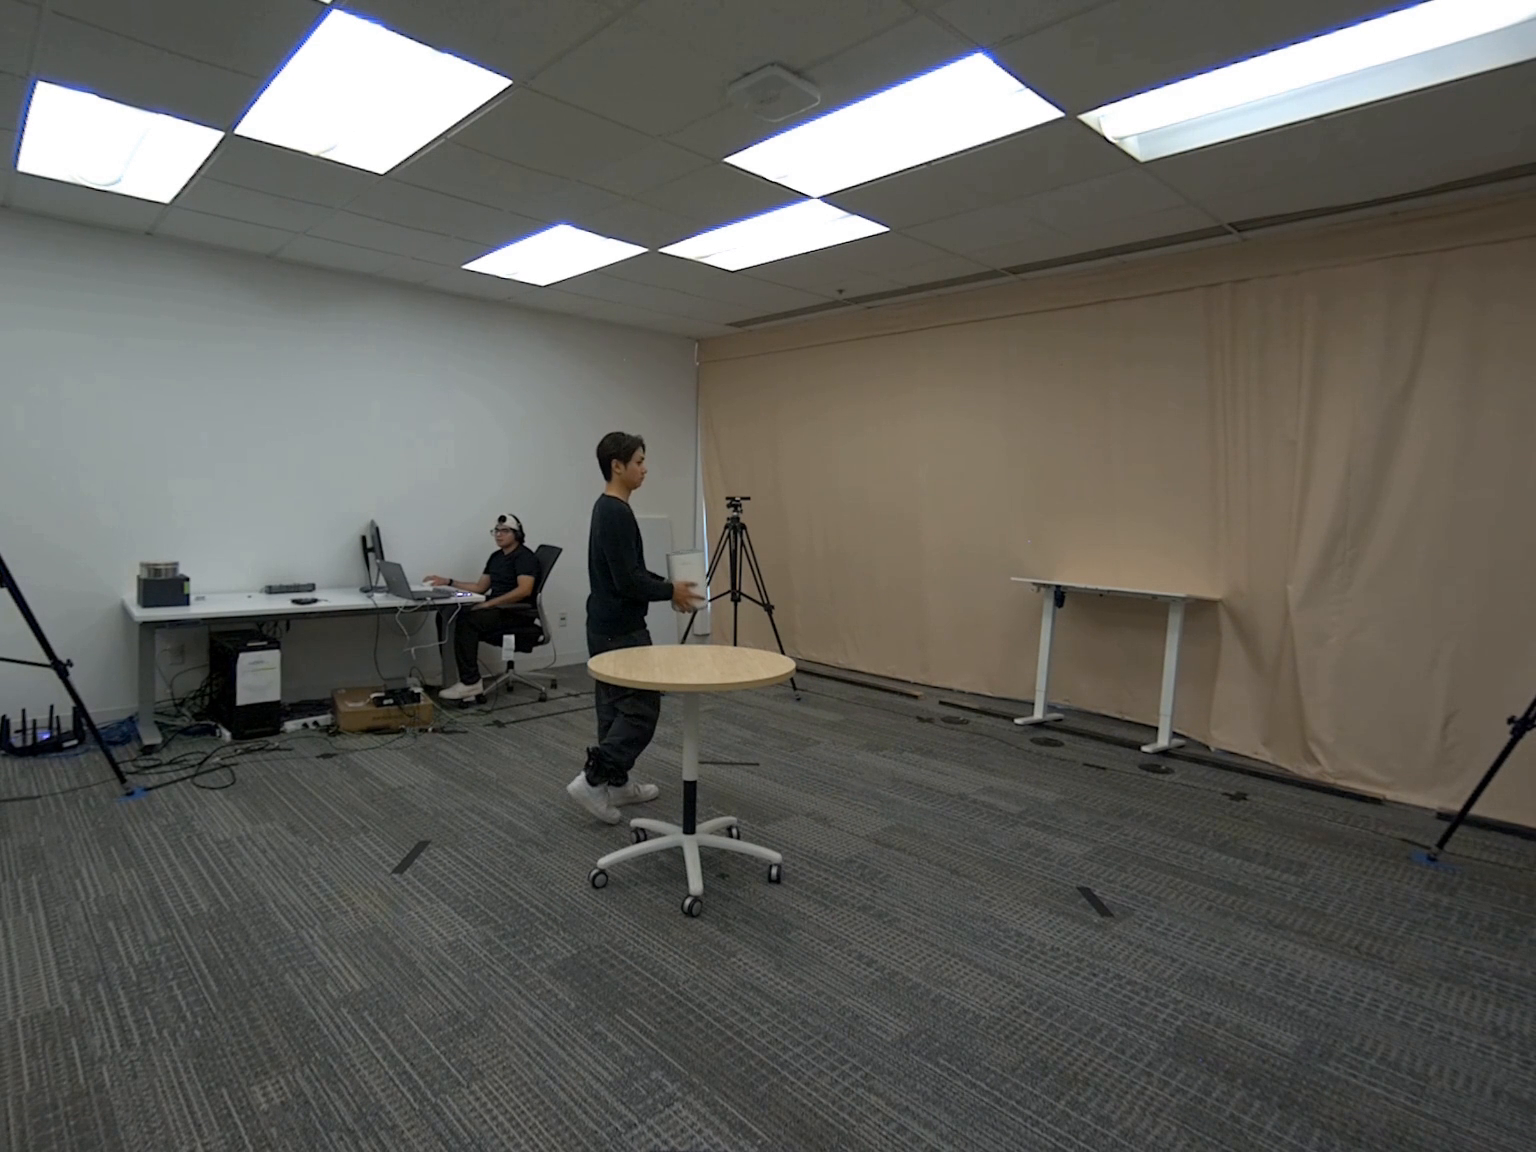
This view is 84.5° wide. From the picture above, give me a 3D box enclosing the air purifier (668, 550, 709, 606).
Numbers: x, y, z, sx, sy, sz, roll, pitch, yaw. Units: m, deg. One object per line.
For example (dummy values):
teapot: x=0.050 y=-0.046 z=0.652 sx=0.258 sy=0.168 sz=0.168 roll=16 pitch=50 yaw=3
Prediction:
air purifier: x=-0.382 y=0.017 z=3.785 sx=0.171 sy=0.265 sz=0.172 roll=-5 pitch=4 yaw=3
